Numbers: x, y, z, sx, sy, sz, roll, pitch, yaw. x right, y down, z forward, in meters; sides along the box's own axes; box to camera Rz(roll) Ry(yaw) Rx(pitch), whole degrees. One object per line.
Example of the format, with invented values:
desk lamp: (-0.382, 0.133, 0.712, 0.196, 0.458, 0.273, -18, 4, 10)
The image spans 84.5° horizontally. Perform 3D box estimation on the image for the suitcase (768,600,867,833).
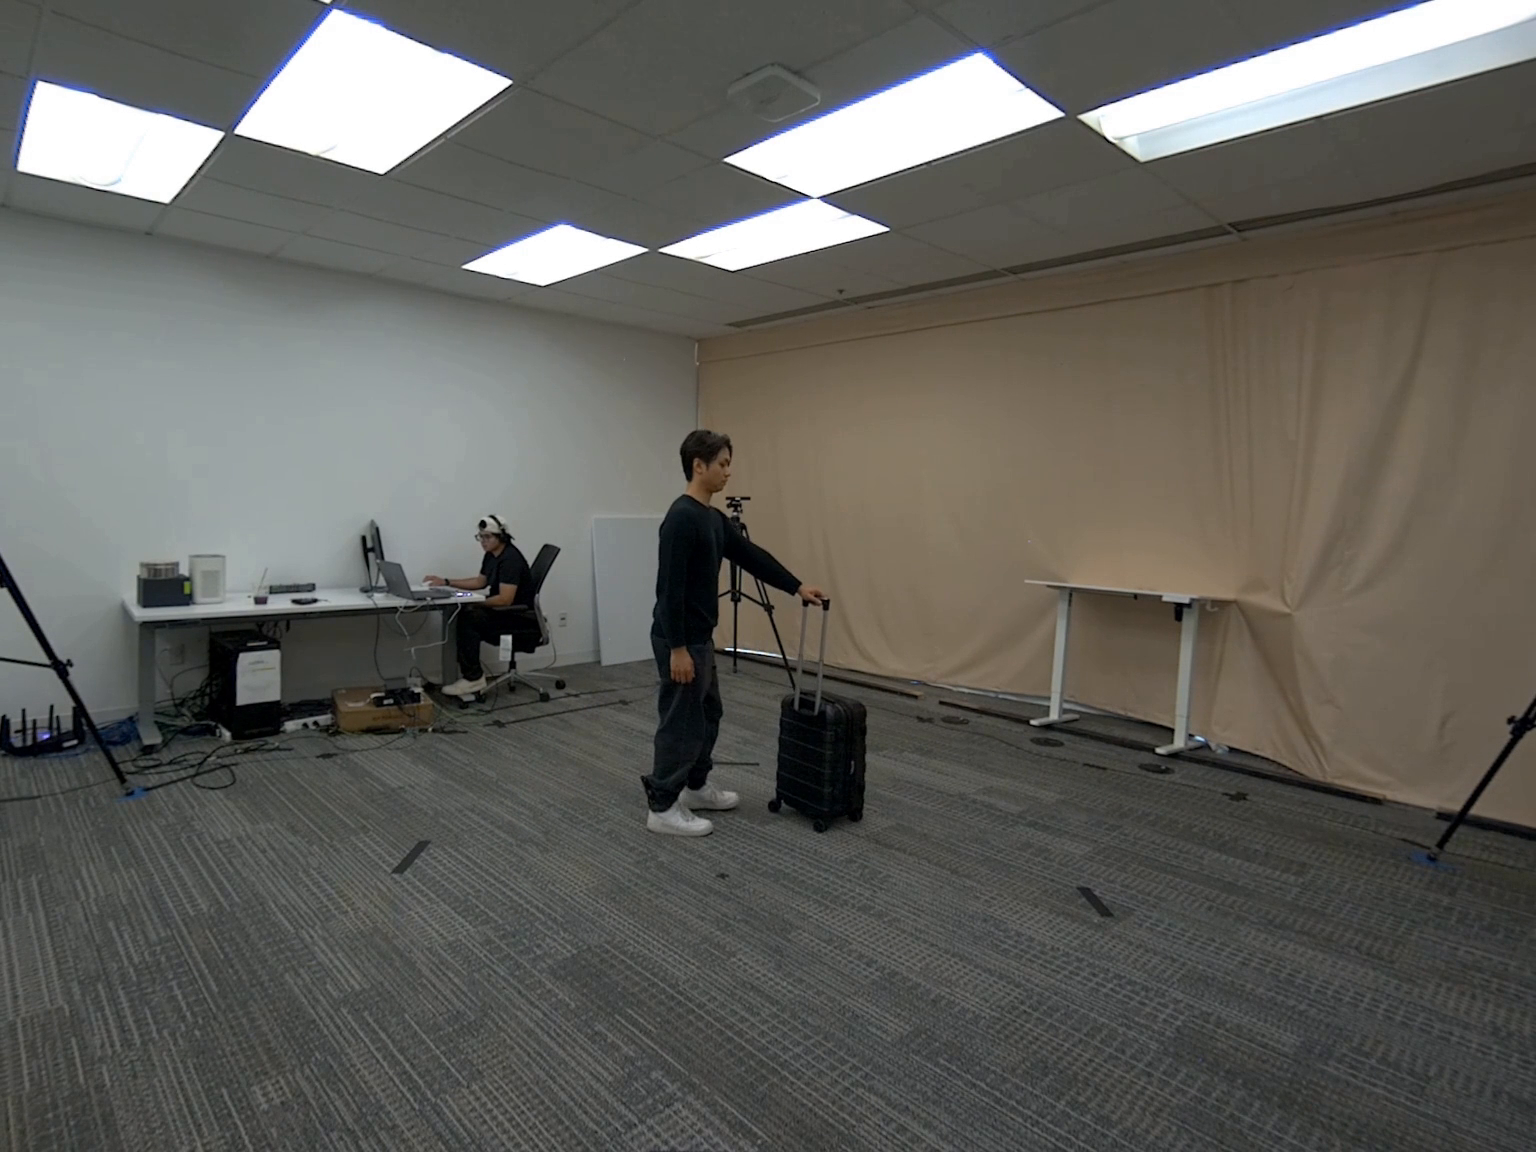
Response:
suitcase: (0.242, 0.586, 3.708, 0.251, 0.977, 0.394, 2, 3, -39)
